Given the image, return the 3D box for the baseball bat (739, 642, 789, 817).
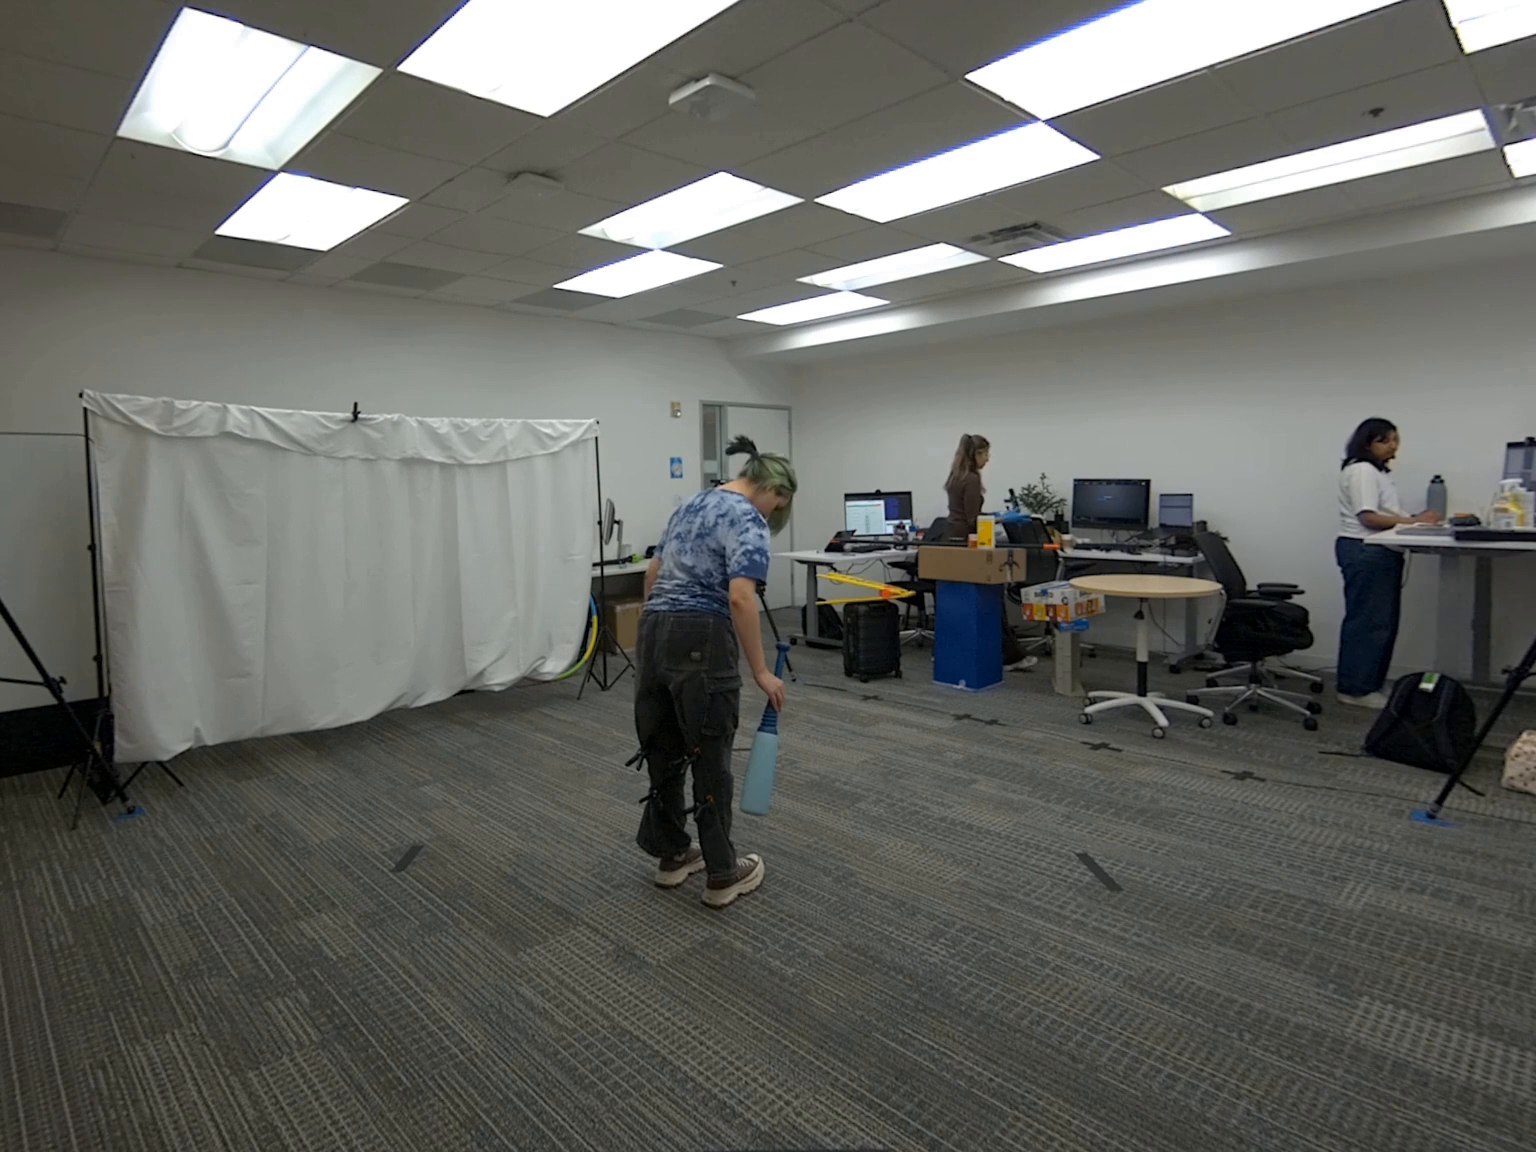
[{"bbox_3d":[-0.001,0.485,2.707,0.089,0.549,0.088,10,-15,1],"label":"baseball bat"}]
